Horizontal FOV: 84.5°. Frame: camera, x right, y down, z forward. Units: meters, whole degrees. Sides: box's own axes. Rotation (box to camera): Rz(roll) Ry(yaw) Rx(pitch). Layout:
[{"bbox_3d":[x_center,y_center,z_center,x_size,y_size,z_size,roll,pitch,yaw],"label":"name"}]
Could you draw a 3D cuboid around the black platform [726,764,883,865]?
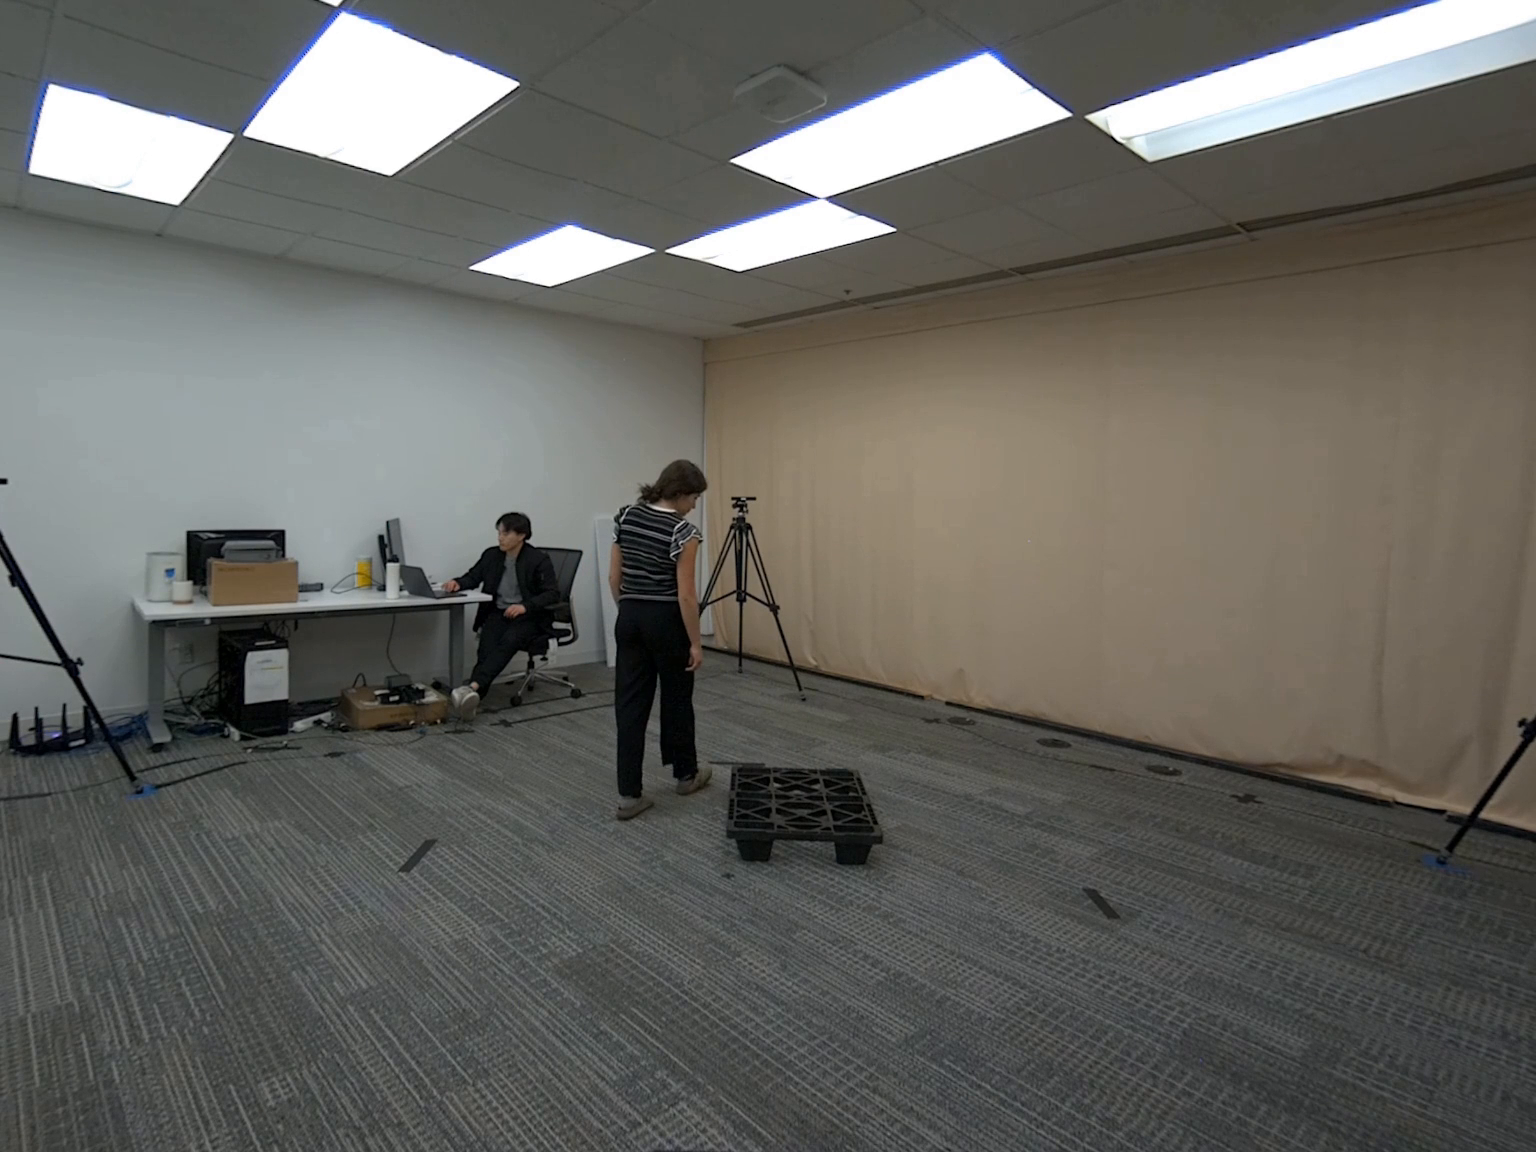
[{"bbox_3d":[0.123,1.003,3.588,0.605,0.143,0.807,3,5,0],"label":"black platform"}]
